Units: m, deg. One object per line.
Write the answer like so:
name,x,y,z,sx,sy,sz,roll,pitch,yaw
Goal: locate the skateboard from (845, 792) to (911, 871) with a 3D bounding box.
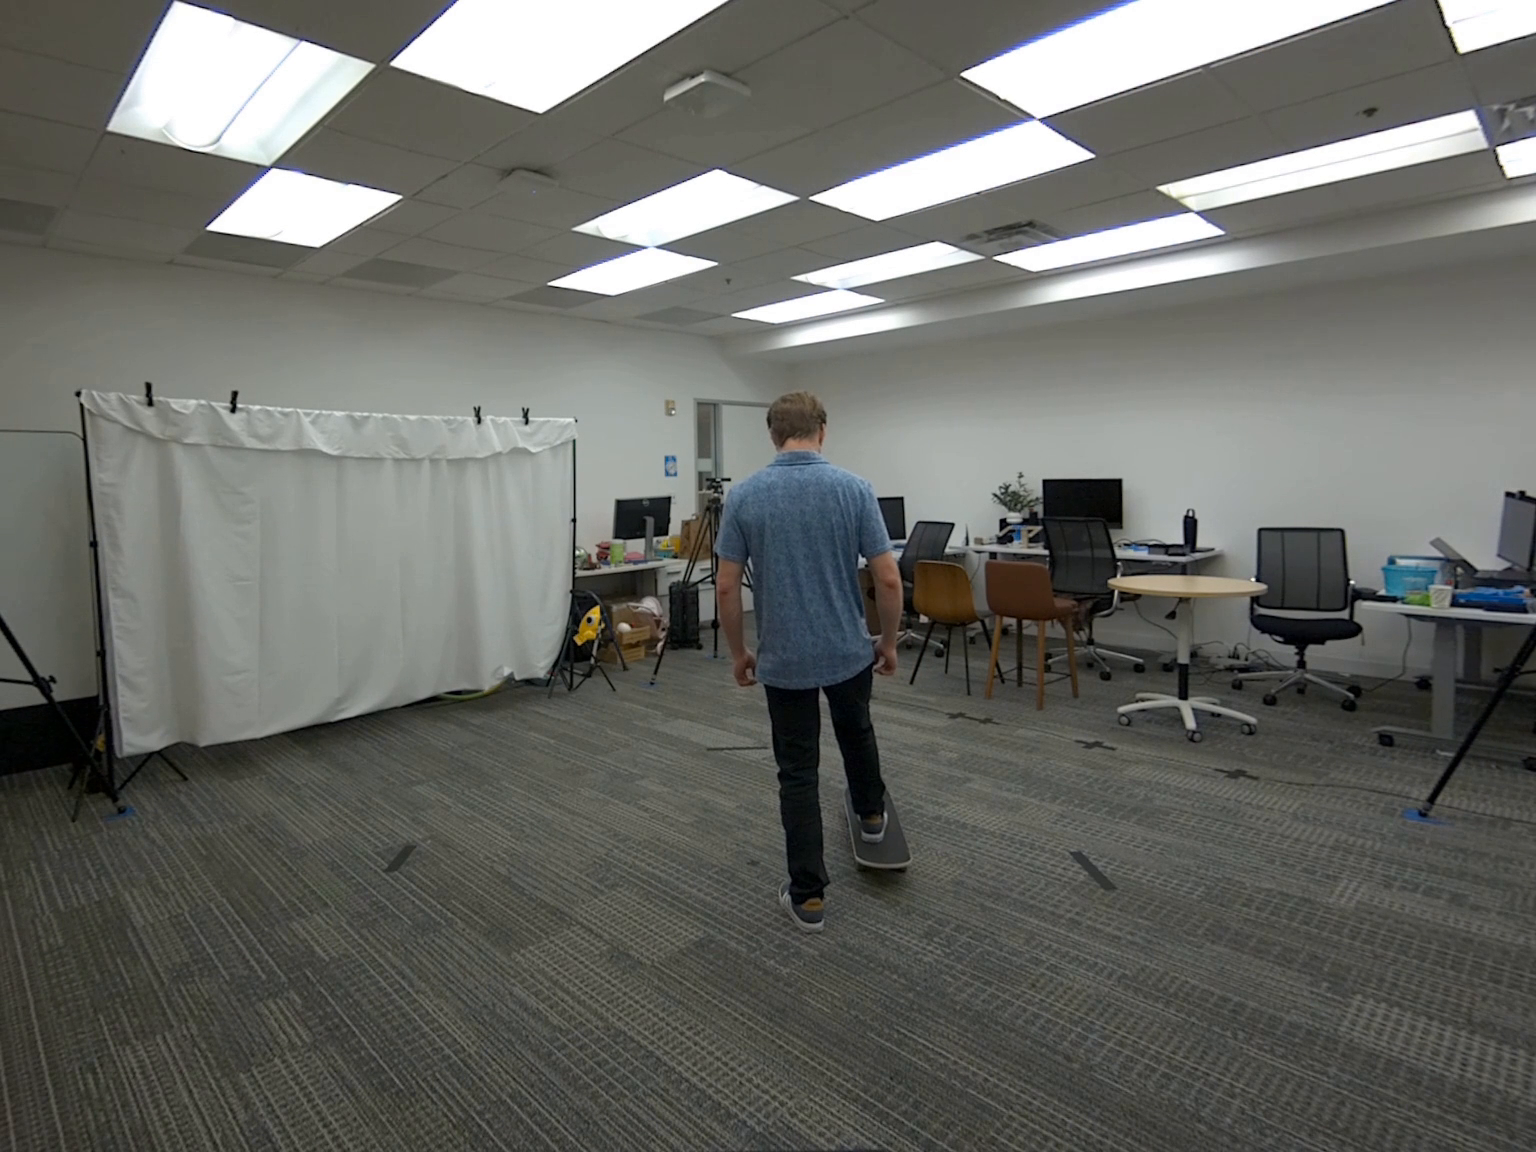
skateboard,0.400,0.959,3.224,0.194,0.110,0.787,-3,7,1
